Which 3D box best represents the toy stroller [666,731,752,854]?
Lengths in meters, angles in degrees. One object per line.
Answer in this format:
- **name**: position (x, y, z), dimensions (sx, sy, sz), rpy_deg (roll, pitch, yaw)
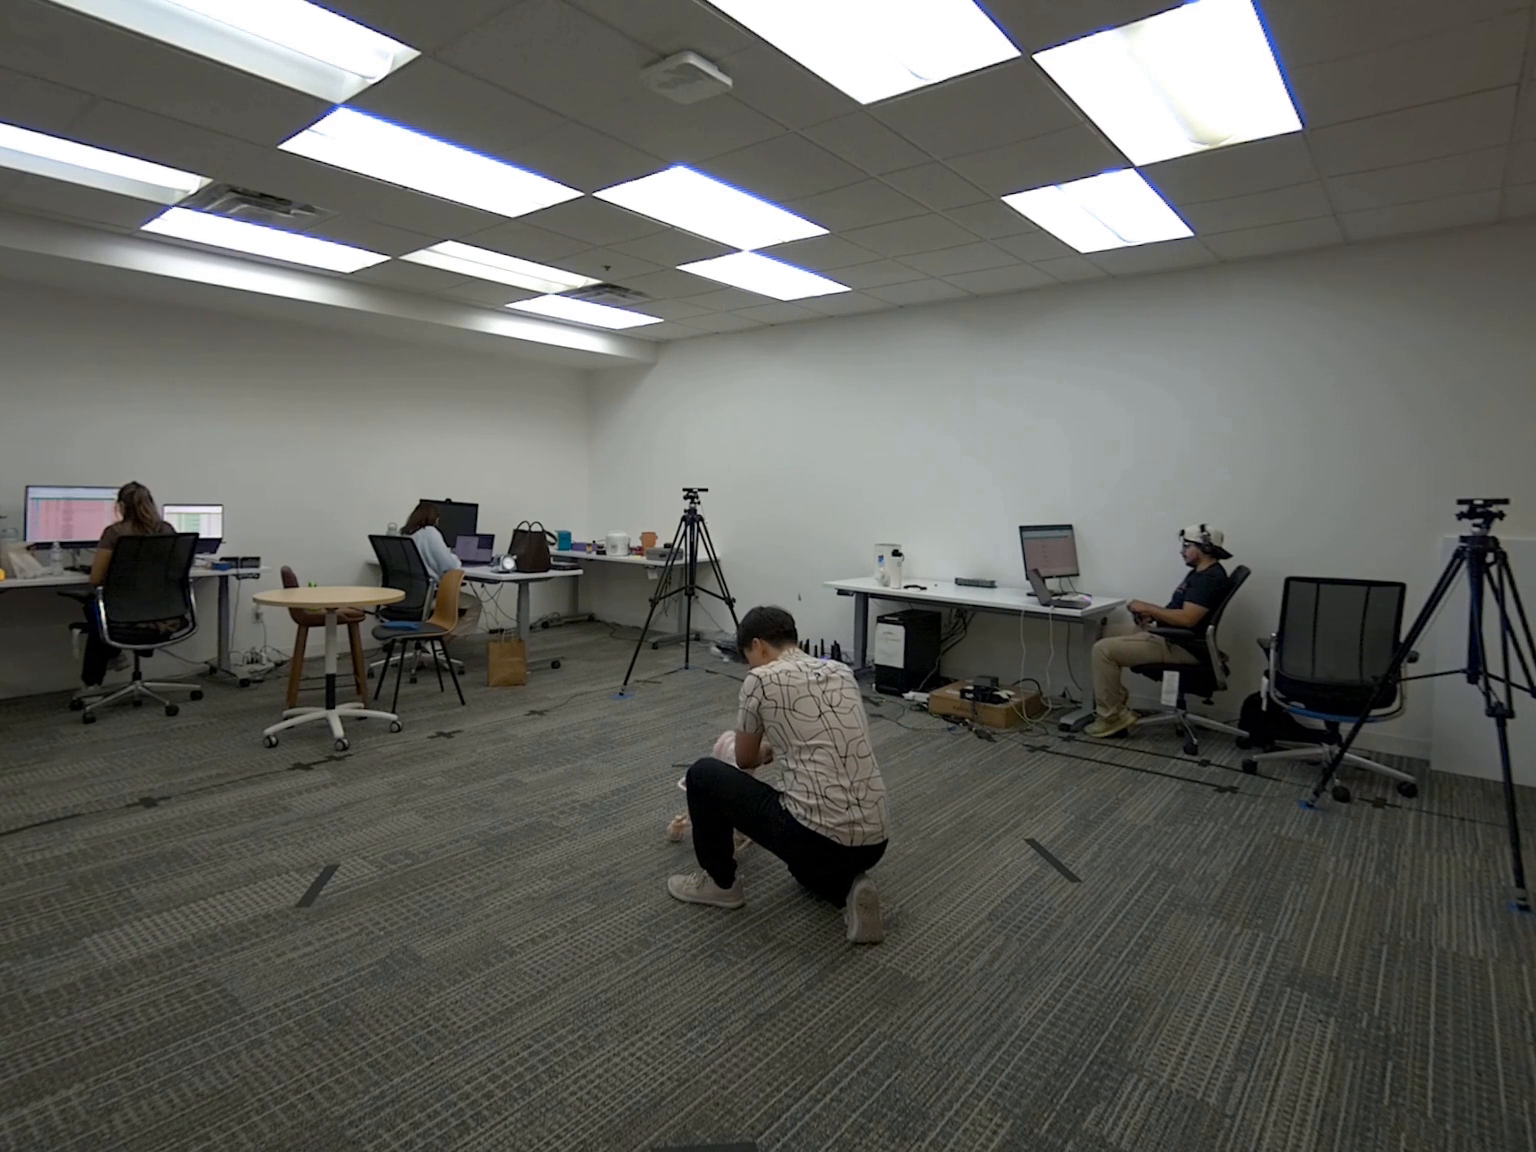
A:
- **toy stroller**: position (-0.192, 0.826, 3.267), dimensions (0.352, 0.531, 0.275), rpy_deg (21, 11, 24)
